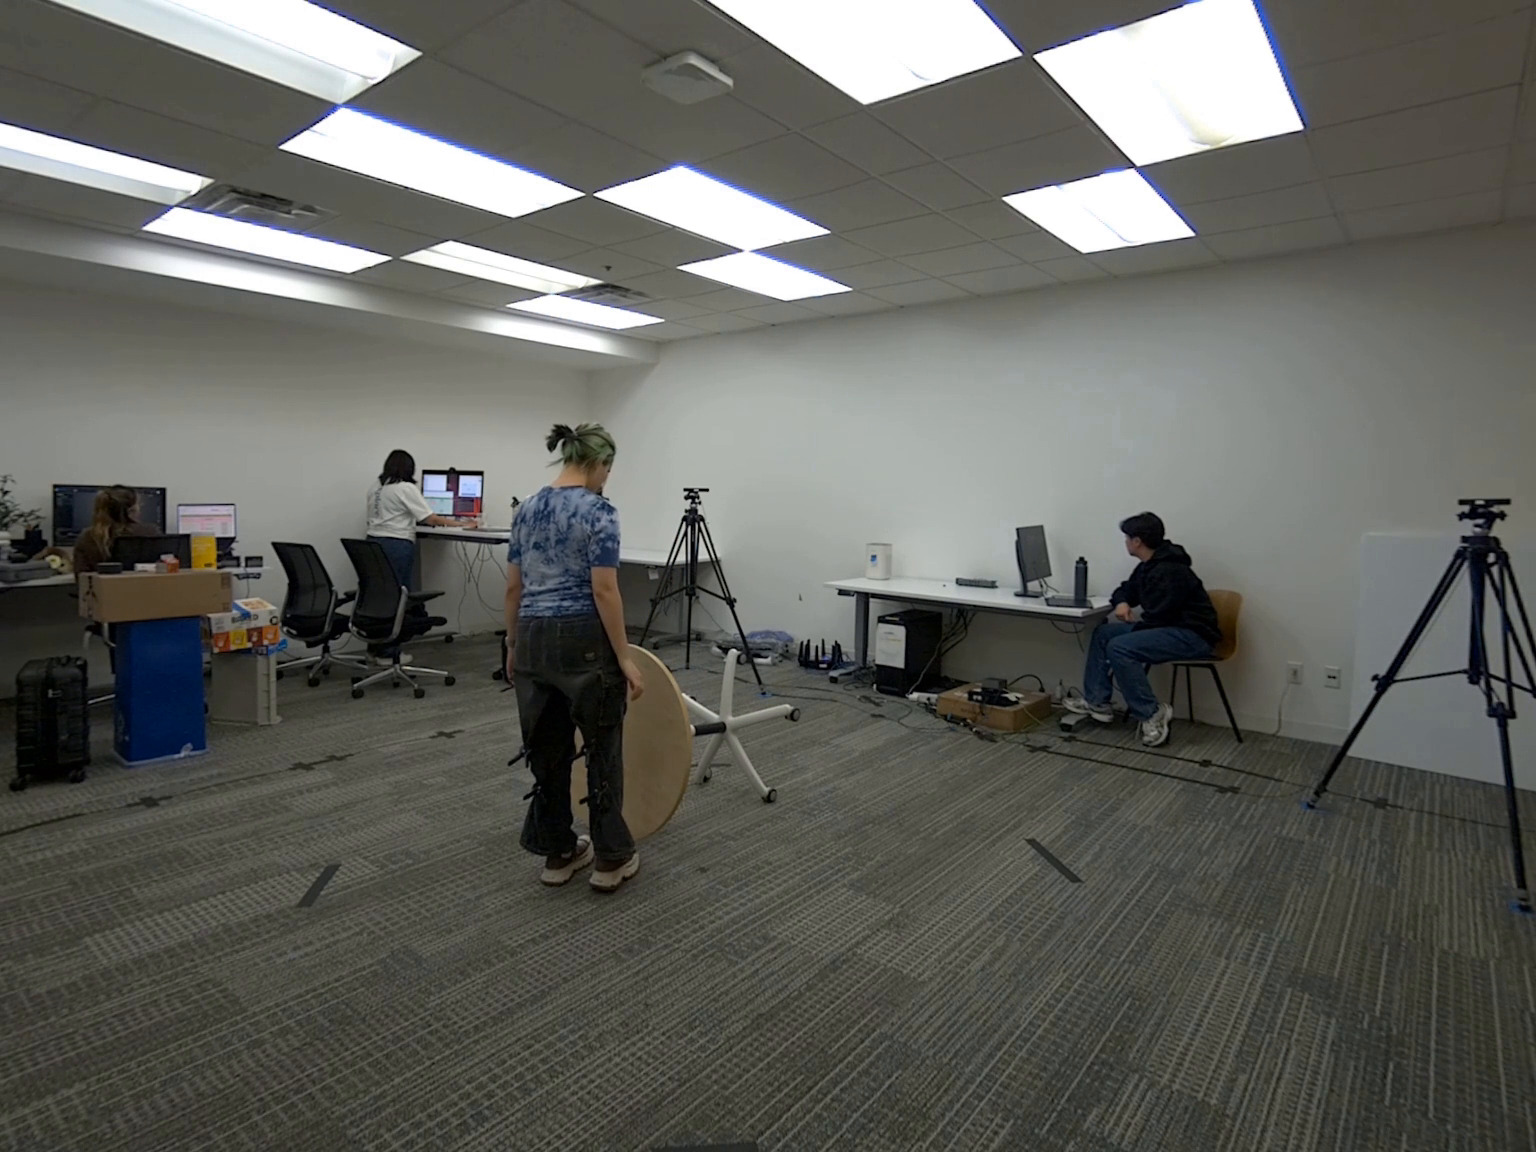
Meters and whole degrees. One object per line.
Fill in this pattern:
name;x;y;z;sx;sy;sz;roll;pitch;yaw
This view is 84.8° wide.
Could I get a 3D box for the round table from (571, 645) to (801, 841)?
round table;-0.376;0.672;3.686;0.789;0.765;0.766;4;-2;39
